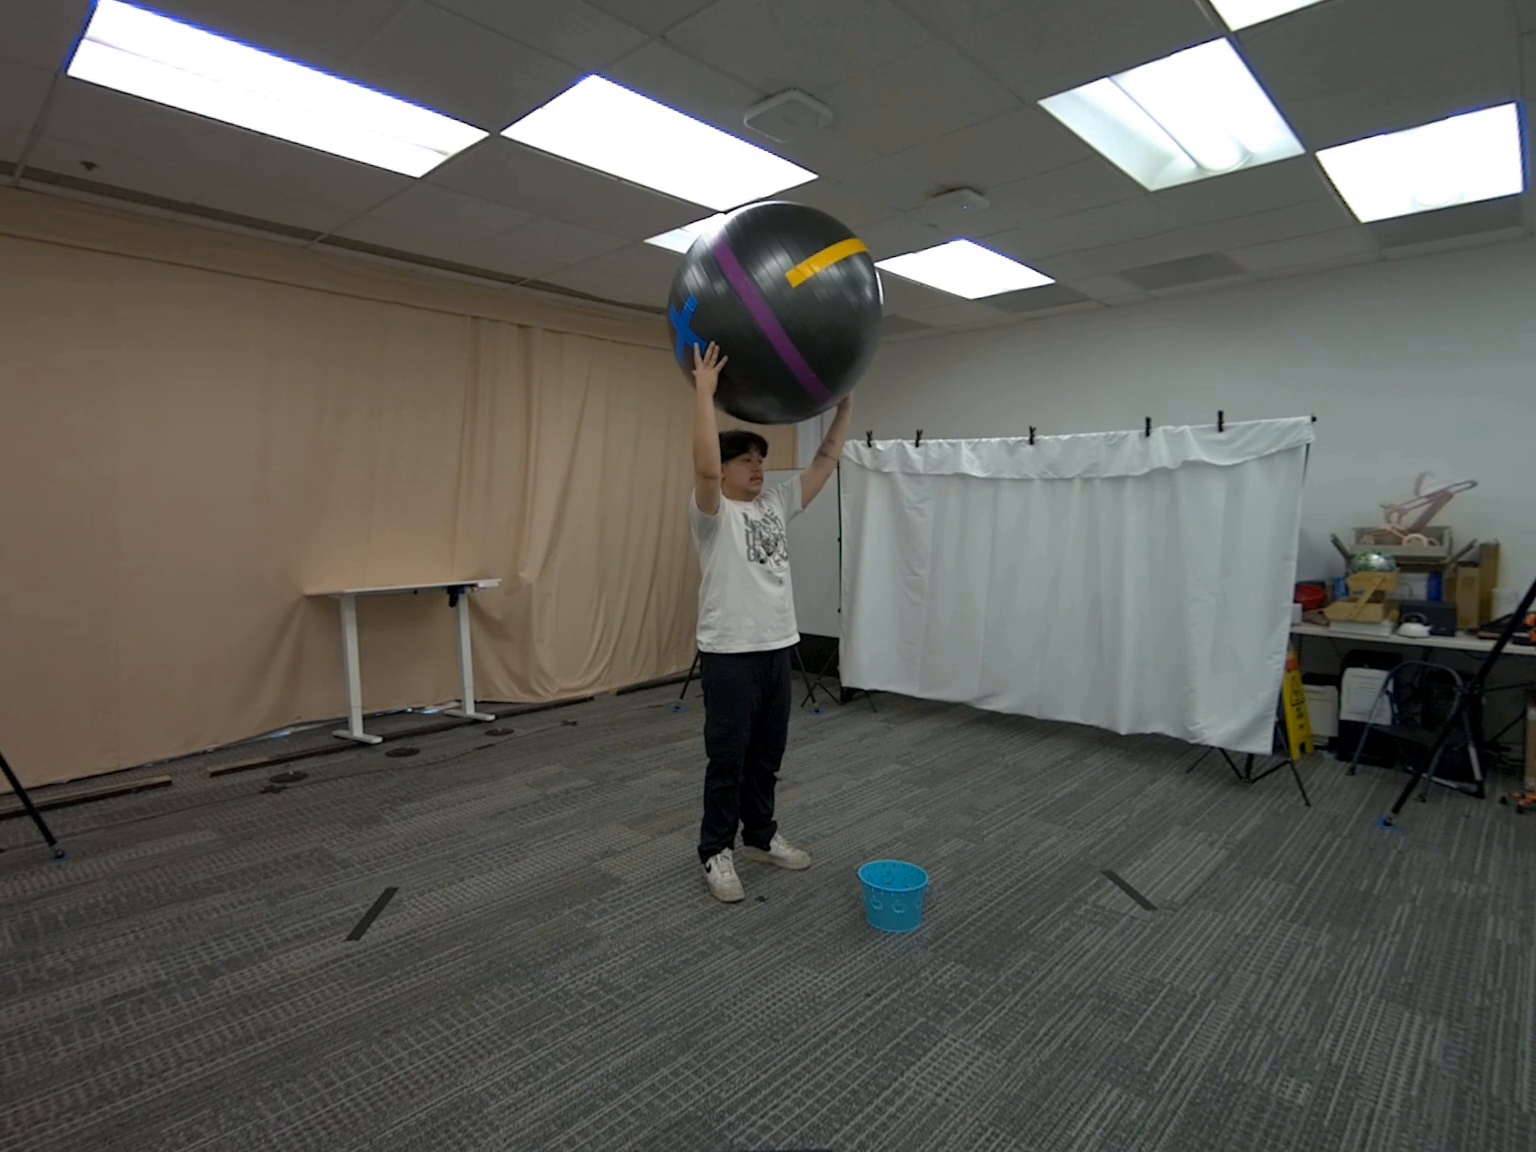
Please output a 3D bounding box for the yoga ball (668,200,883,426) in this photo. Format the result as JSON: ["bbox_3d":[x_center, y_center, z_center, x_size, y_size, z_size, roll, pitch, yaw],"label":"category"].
[{"bbox_3d":[0.024,-0.912,2.974,0.757,0.756,0.760,0,4,-2],"label":"yoga ball"}]
